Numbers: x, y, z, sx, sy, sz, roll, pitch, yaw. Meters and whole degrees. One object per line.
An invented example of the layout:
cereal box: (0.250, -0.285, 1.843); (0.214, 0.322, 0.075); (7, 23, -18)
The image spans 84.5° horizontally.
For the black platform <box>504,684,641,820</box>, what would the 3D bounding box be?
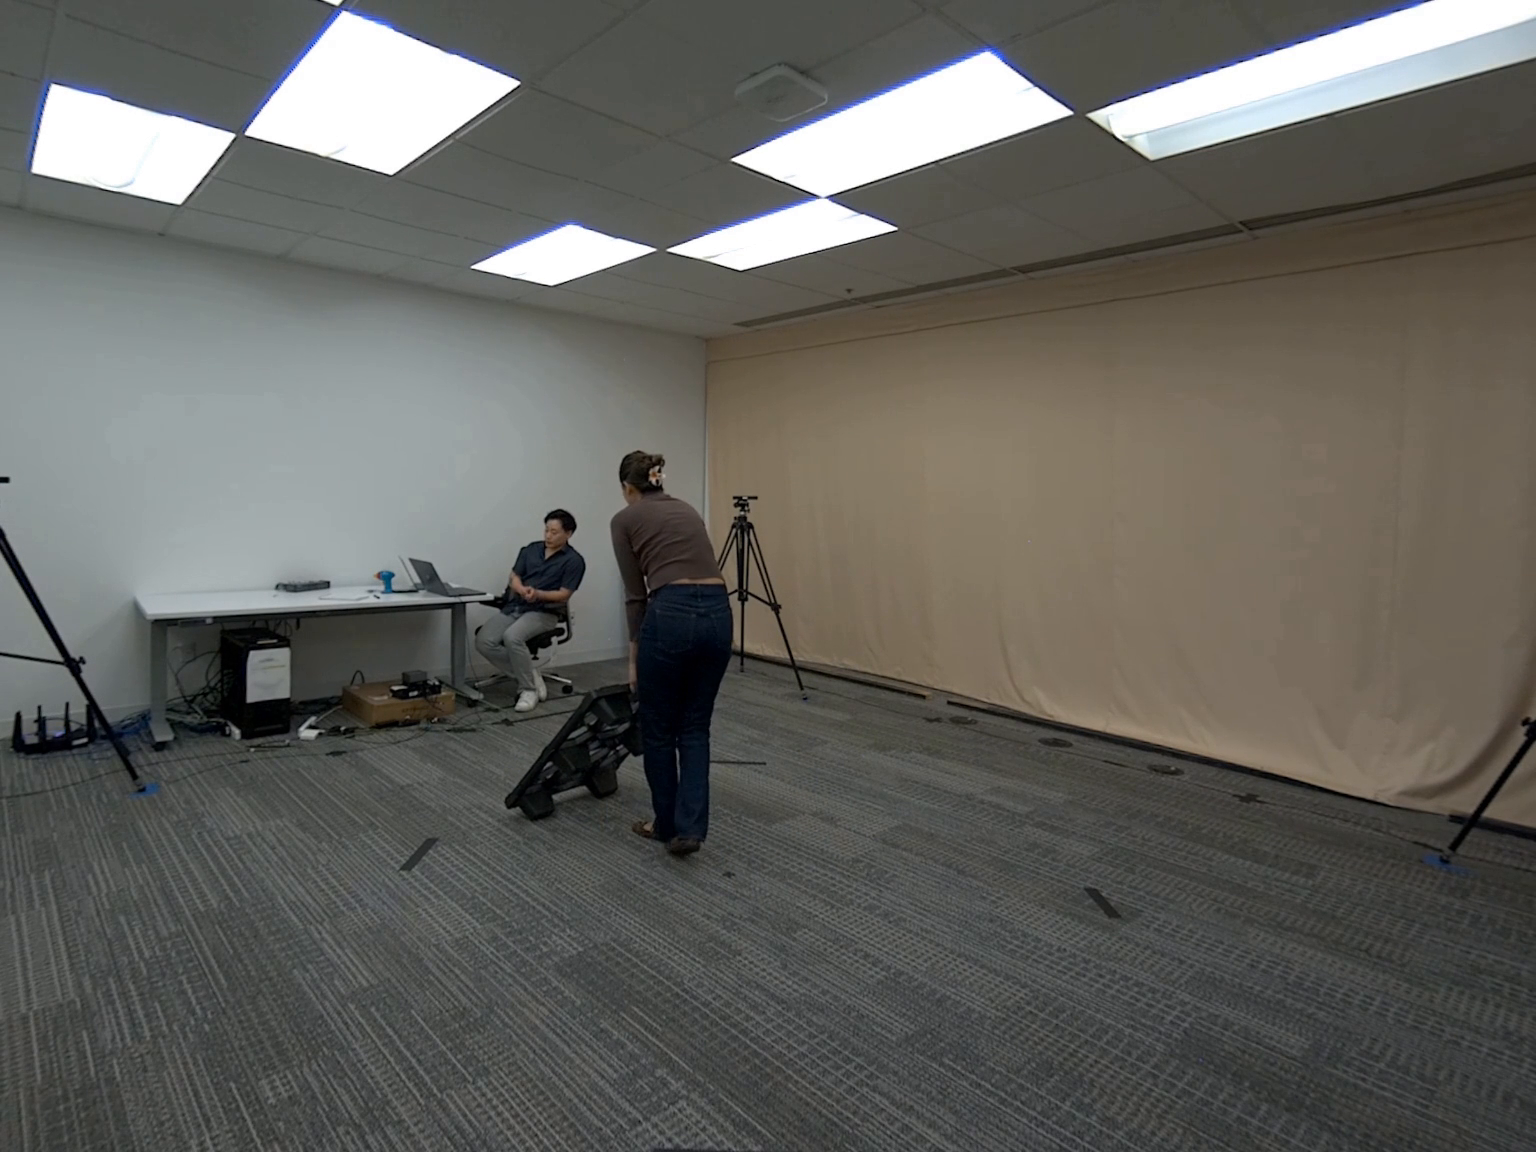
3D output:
black platform: (-0.699, 0.732, 3.599); (0.592, 0.804, 0.146); (-6, 53, -53)
